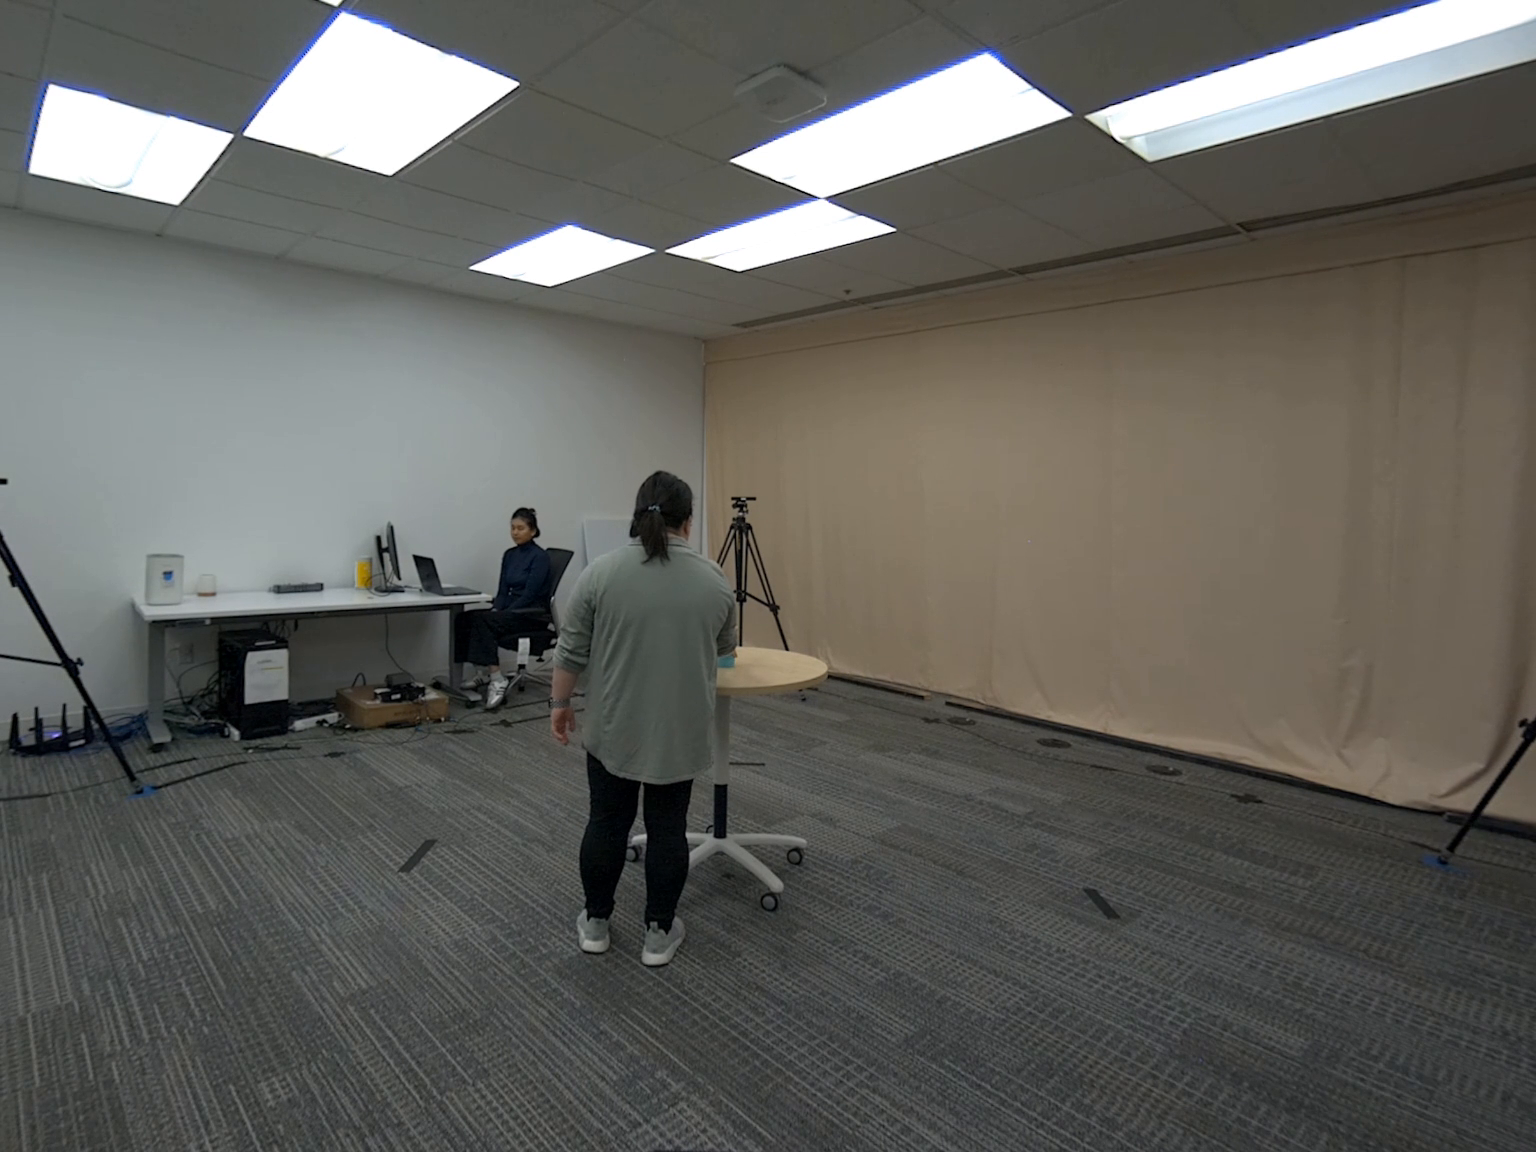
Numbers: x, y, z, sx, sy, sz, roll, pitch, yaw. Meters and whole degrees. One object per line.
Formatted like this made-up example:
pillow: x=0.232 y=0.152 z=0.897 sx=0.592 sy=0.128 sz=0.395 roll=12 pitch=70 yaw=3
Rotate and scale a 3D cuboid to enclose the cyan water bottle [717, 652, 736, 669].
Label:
cyan water bottle: x=-0.175 y=0.191 z=3.051 sx=0.092 sy=0.282 sz=0.093 roll=0 pitch=5 yaw=-1
